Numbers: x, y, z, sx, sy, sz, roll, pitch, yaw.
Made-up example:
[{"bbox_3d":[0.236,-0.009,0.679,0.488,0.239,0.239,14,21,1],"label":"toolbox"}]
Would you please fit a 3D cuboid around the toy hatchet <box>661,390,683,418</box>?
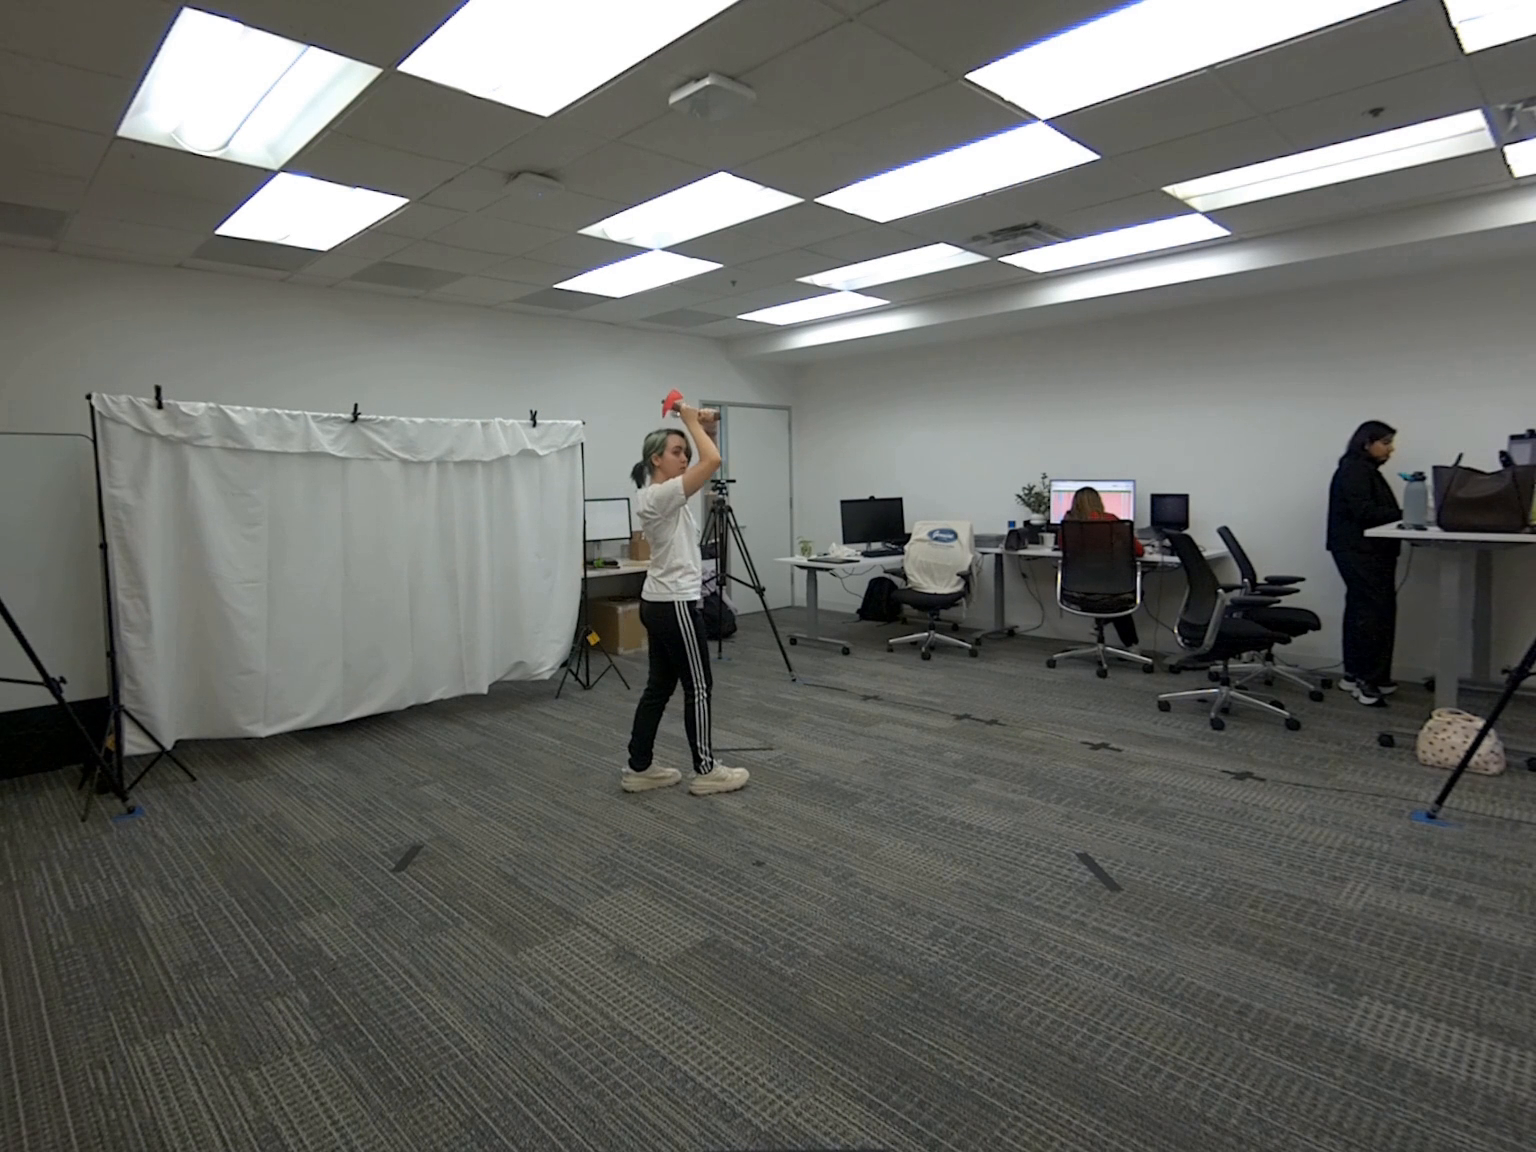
[{"bbox_3d":[-0.337,-0.773,3.805,0.270,0.130,0.029,0,5,2],"label":"toy hatchet"}]
